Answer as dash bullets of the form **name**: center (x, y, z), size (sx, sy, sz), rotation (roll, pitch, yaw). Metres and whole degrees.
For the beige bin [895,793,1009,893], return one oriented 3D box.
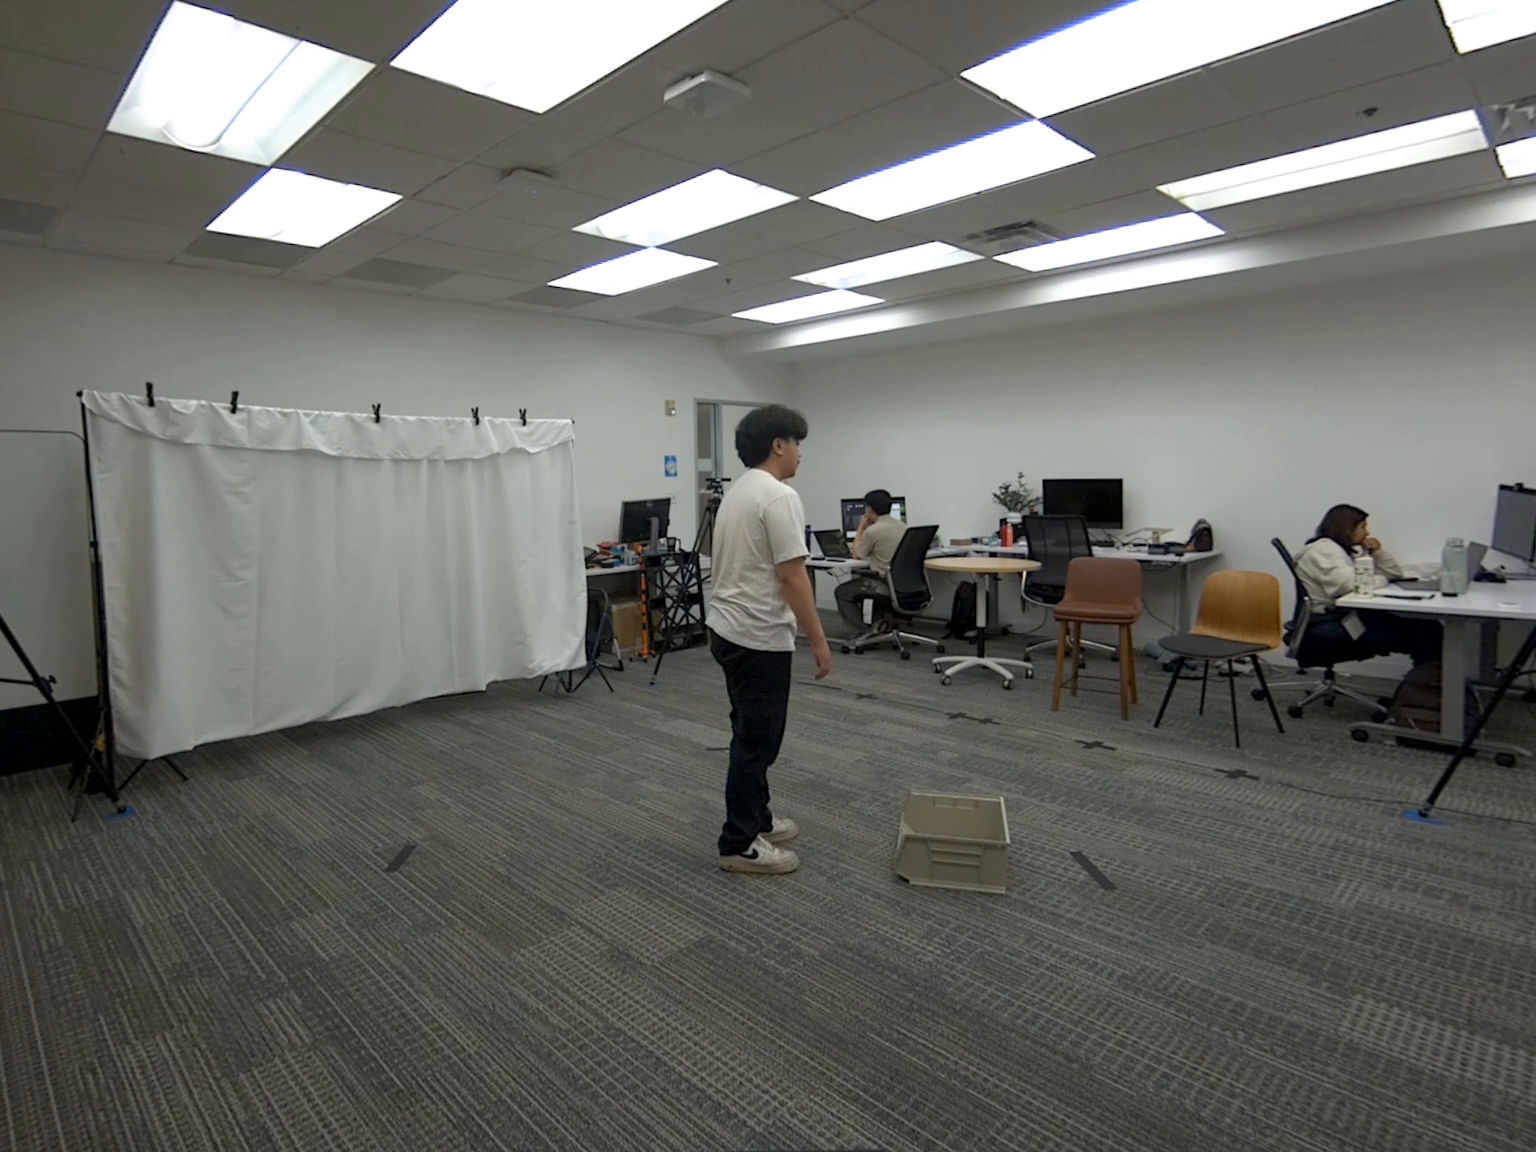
- **beige bin**: center (0.663, 0.943, 3.072), size (0.382, 0.188, 0.418), rotation (1, 5, 13)
